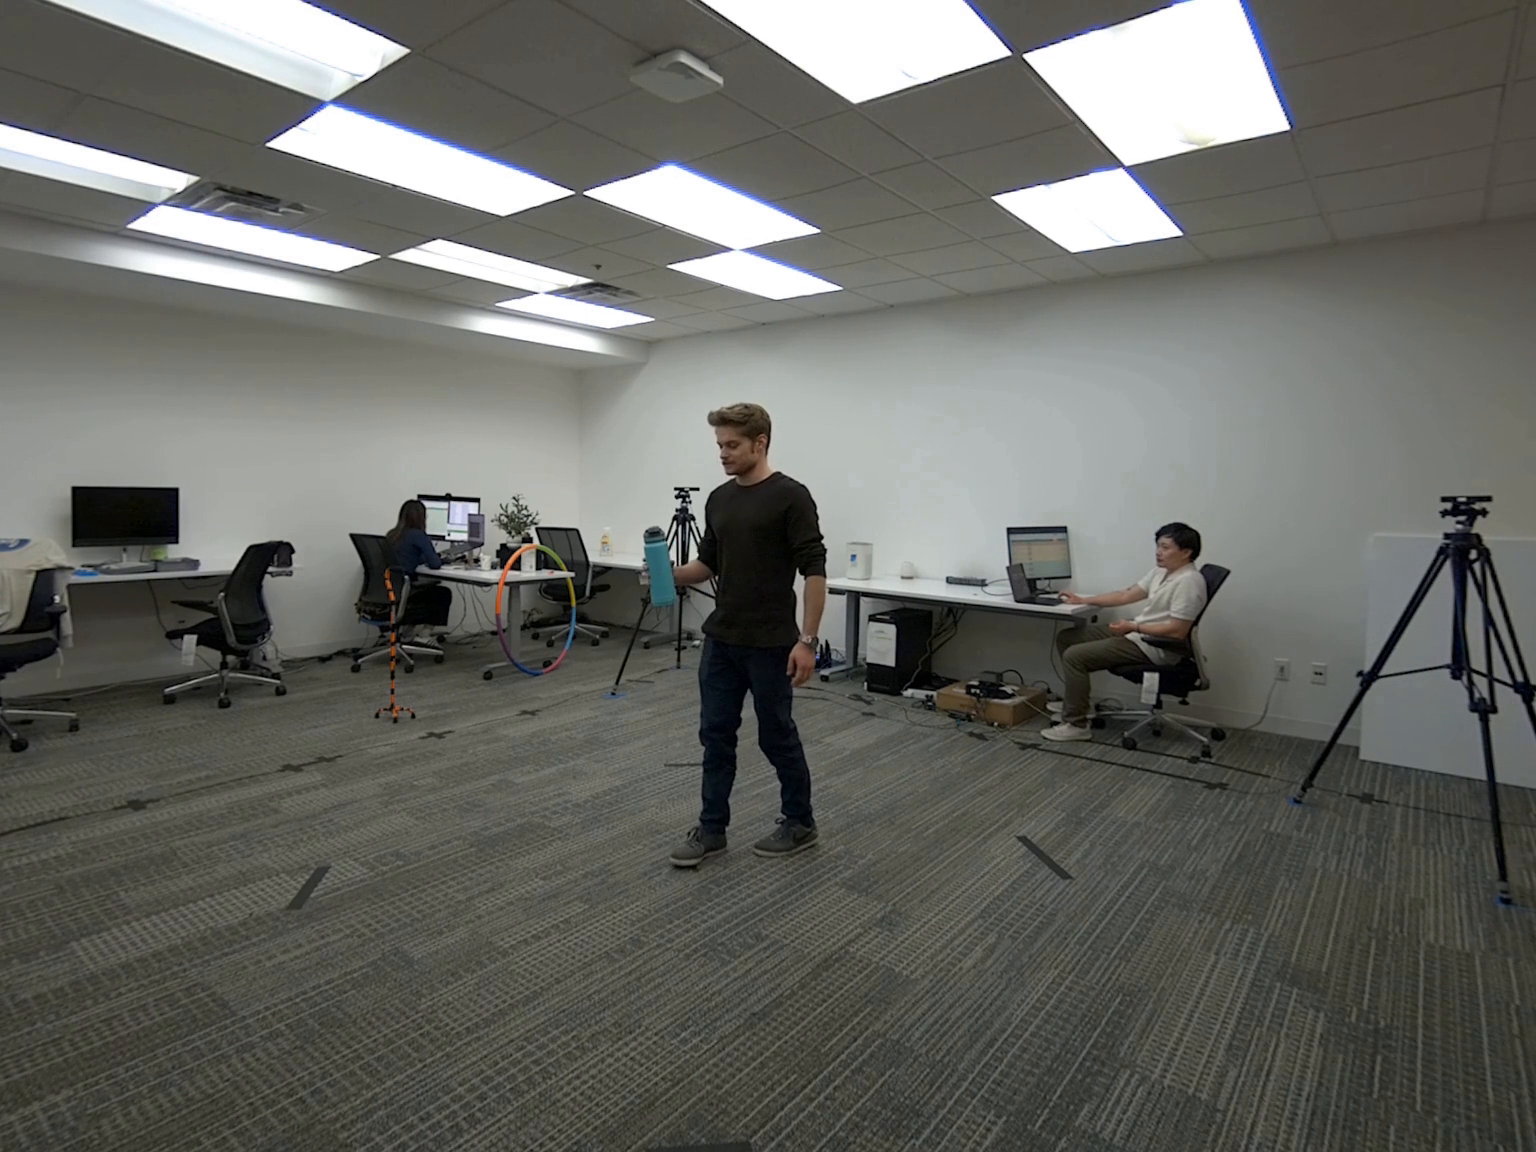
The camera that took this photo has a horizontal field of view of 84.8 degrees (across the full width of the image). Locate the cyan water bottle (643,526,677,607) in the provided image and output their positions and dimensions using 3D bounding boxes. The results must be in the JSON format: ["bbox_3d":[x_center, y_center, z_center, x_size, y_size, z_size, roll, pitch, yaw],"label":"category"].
[{"bbox_3d":[-0.401,-0.045,3.079,0.092,0.282,0.093,-9,5,-1],"label":"cyan water bottle"}]
